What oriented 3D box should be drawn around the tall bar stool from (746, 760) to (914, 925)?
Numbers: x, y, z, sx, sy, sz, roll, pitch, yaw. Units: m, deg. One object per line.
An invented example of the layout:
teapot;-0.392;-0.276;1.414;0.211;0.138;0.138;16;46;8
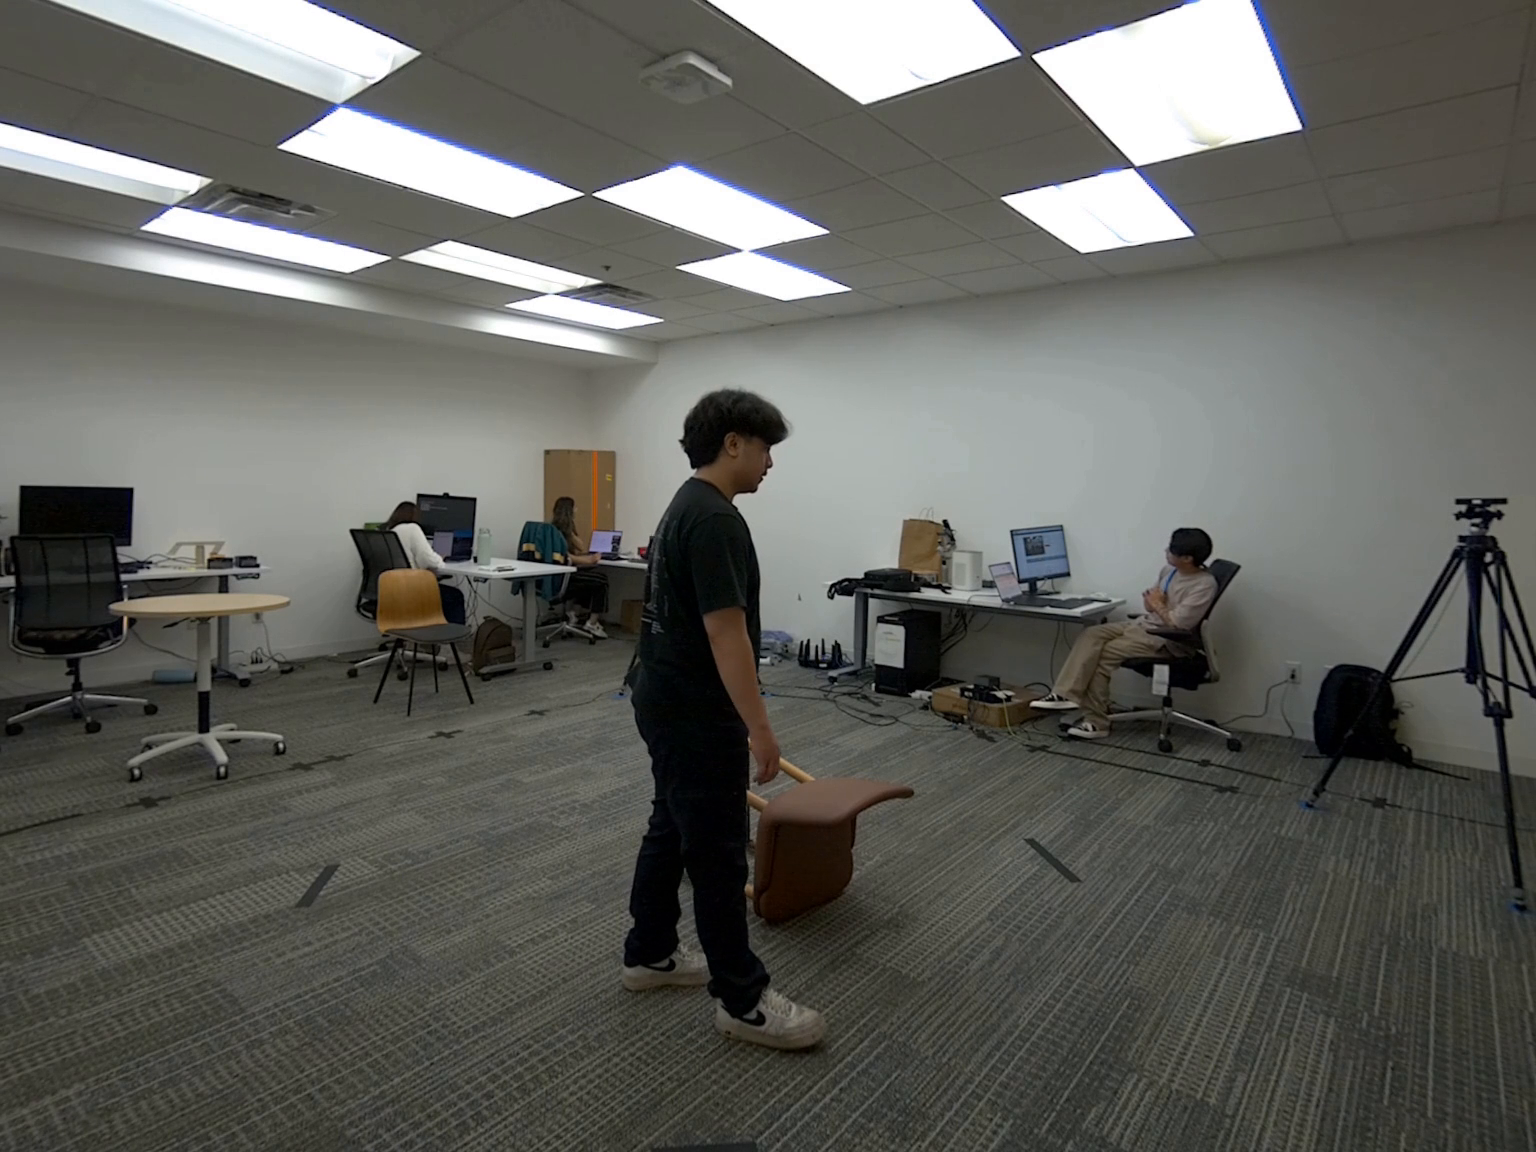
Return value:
tall bar stool;0.024;0.864;2.929;0.442;0.467;0.920;-1;4;-45
